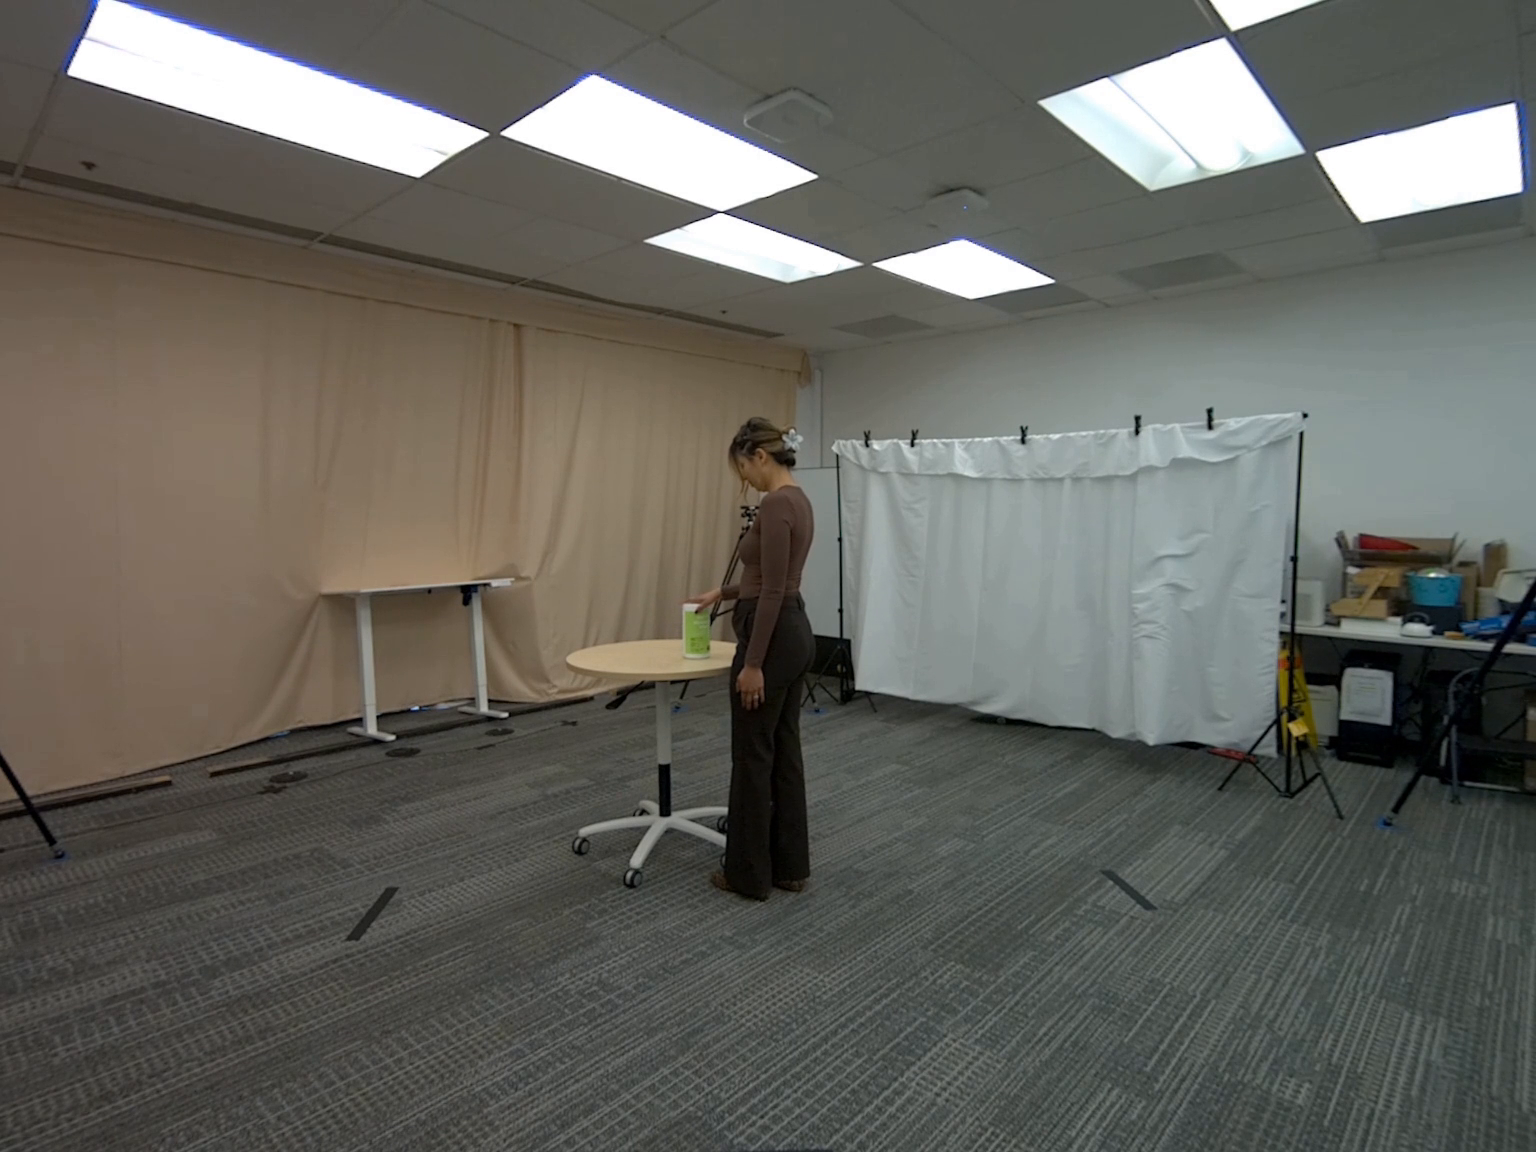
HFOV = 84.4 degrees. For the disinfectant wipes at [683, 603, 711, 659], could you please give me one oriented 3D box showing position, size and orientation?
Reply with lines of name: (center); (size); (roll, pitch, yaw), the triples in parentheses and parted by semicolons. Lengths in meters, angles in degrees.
disinfectant wipes: (-0.282, 0.215, 3.316); (0.117, 0.217, 0.118); (2, 4, -2)
